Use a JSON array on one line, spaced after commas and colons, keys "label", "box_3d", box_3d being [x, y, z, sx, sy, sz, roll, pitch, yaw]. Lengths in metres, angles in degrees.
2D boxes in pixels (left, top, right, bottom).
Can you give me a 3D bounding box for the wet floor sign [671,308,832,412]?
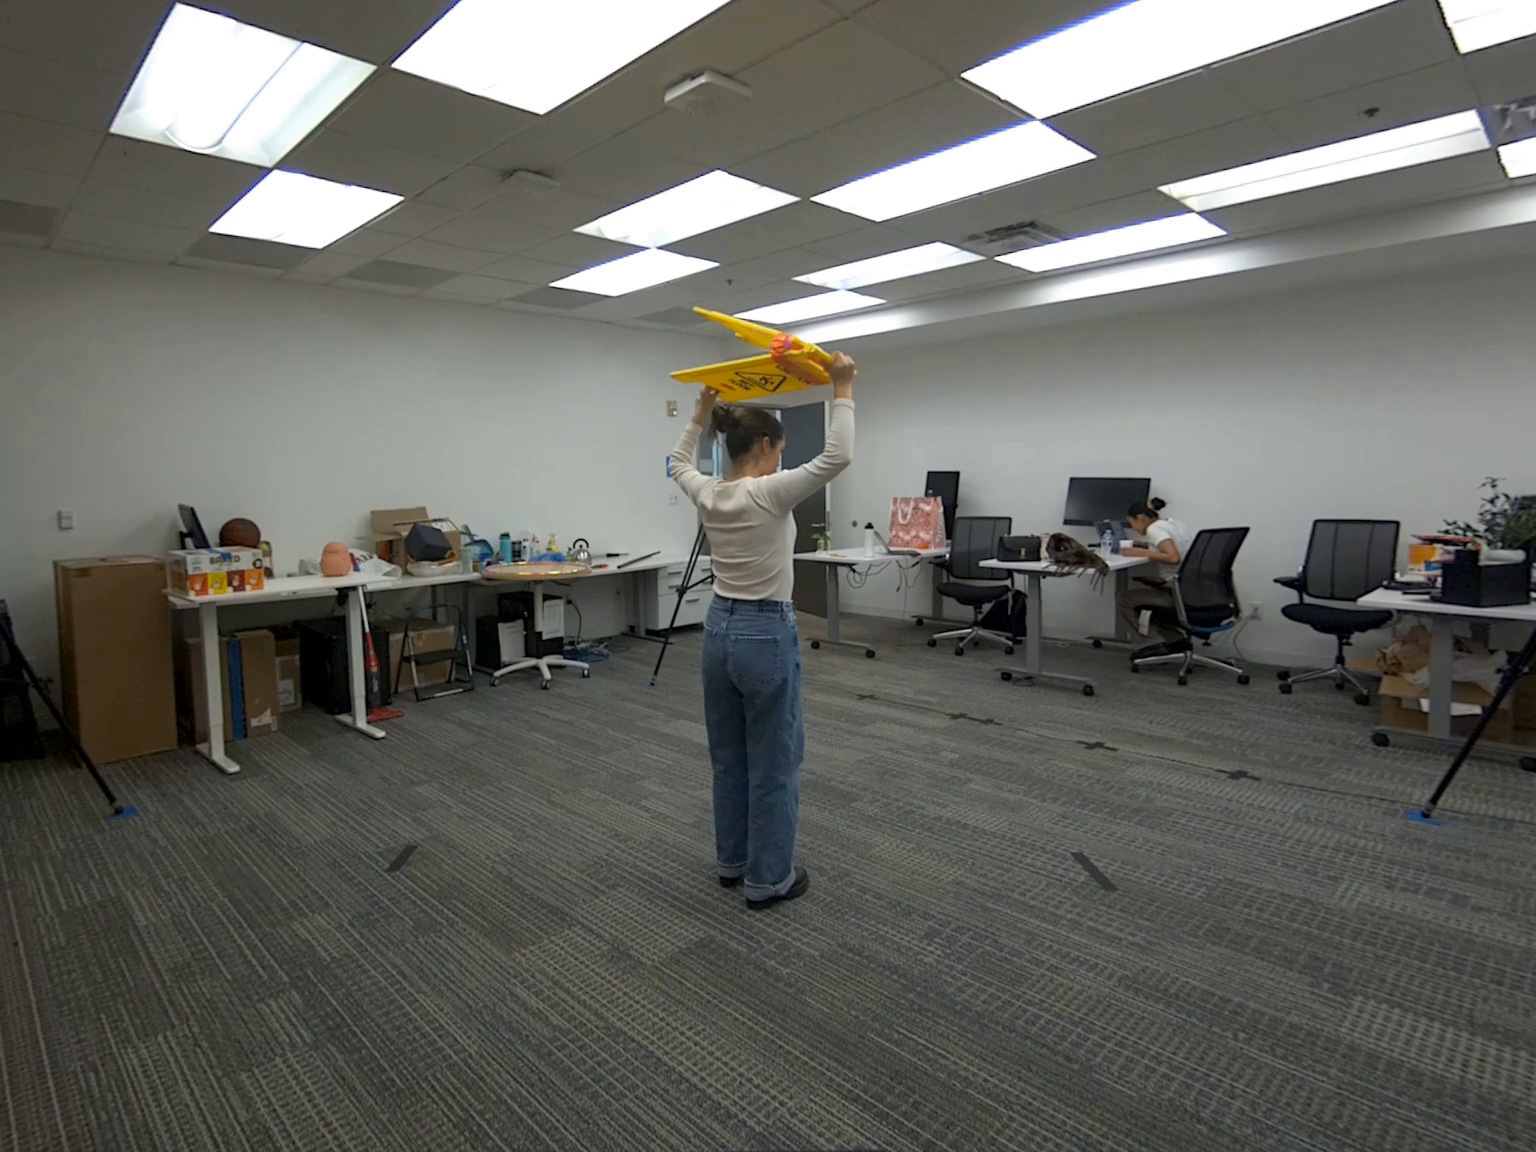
[{"label": "wet floor sign", "box_3d": [0.005, -0.711, 2.795, 0.272, 0.290, 0.669, 19, -1, -41]}]
